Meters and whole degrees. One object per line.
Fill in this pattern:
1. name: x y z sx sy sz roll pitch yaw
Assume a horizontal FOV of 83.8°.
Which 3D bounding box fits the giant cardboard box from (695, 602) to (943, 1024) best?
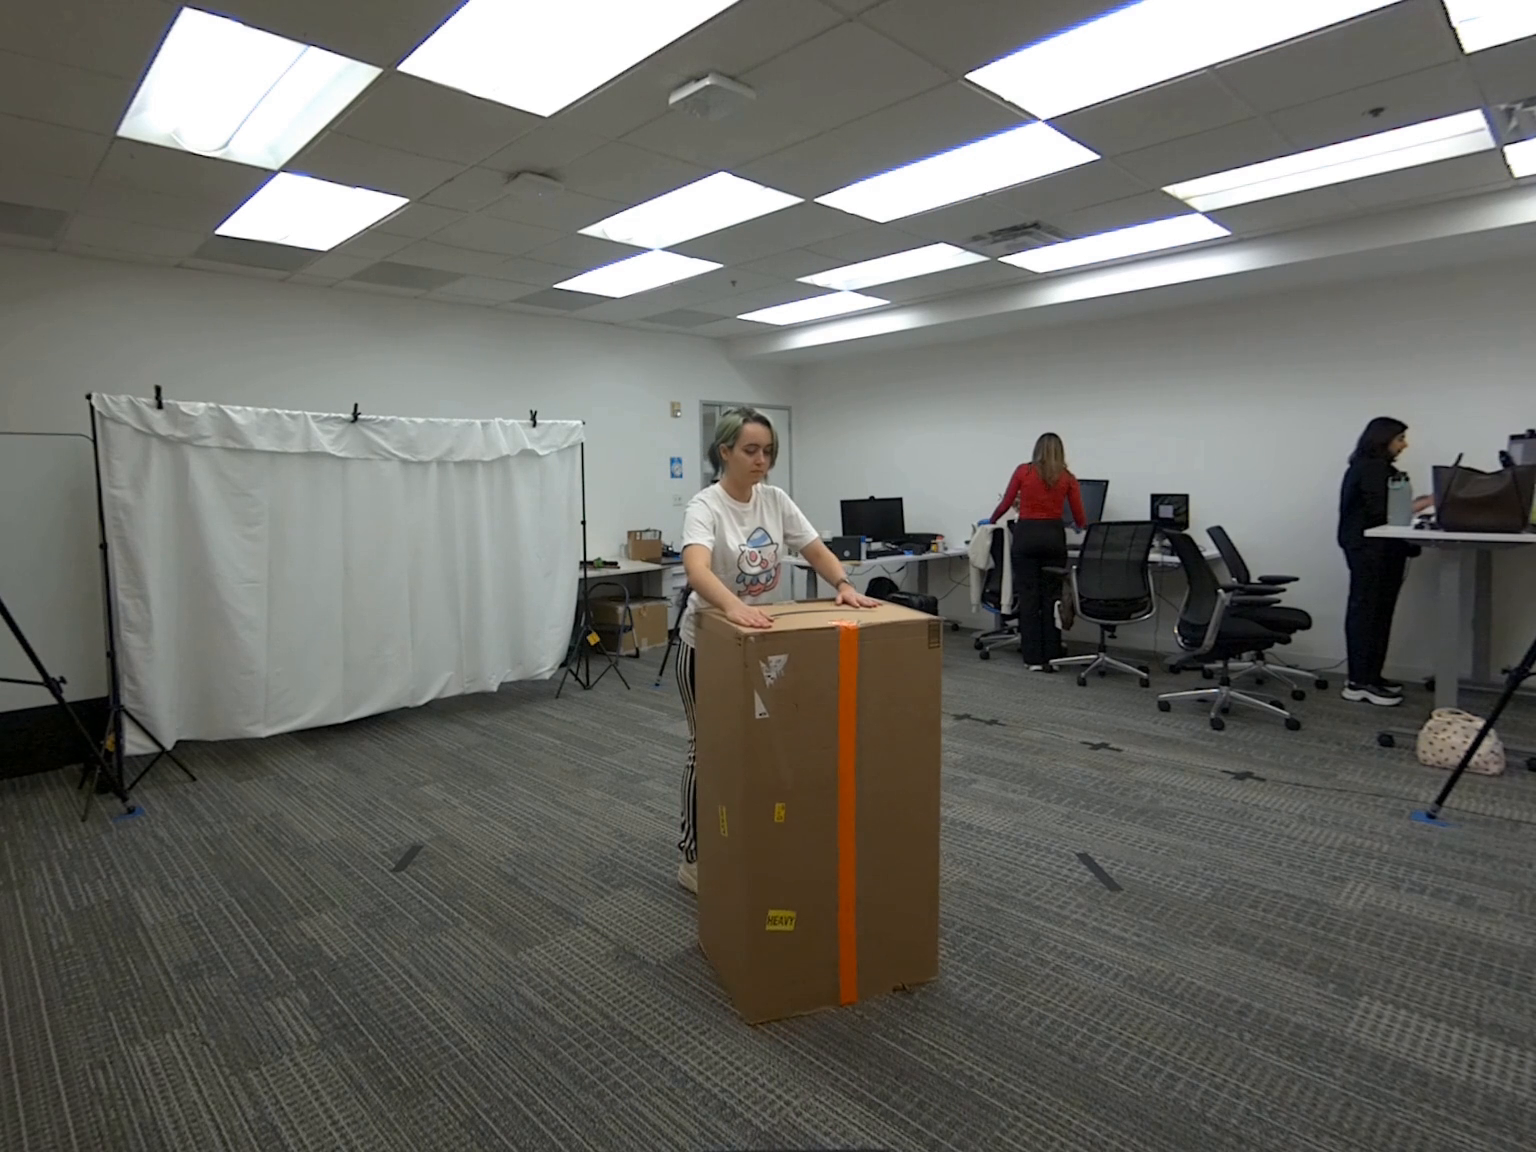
1. giant cardboard box: 0.134 0.614 2.437 0.573 1.023 0.457 -2 4 -22
